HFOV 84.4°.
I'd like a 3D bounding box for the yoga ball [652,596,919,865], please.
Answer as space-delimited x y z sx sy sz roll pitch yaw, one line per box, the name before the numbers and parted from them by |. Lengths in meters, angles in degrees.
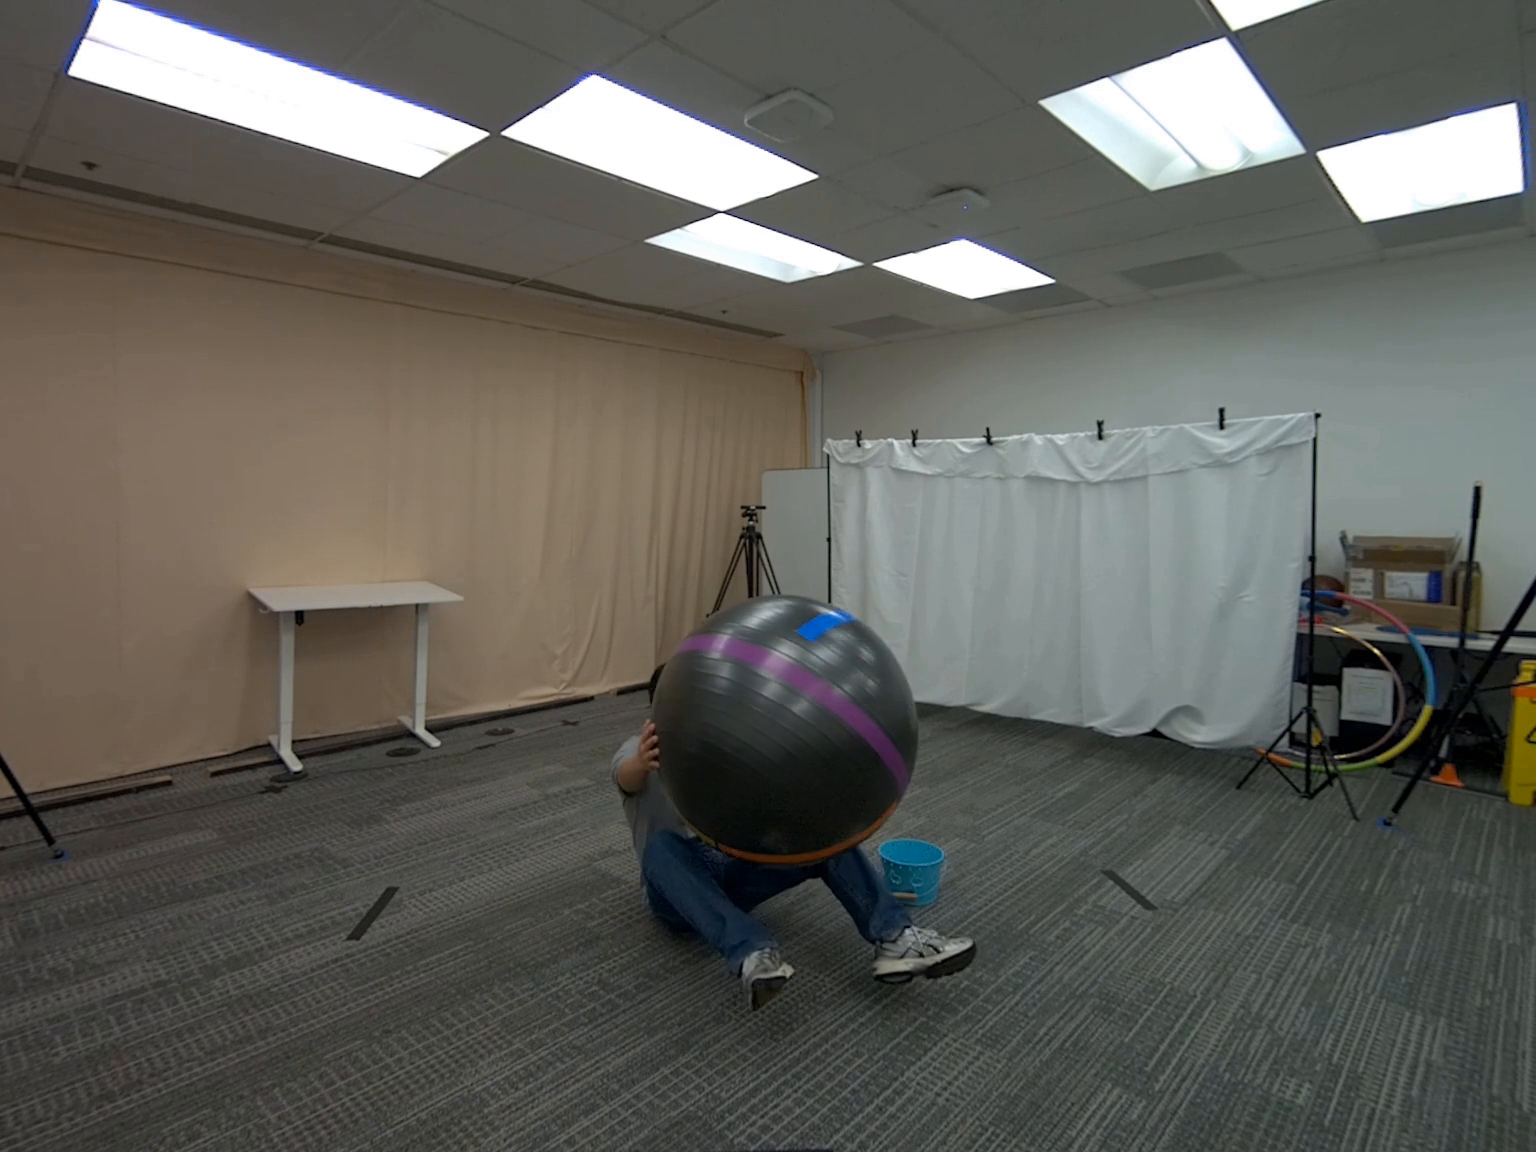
yoga ball | 0.054 0.458 2.404 0.757 0.756 0.761 0 4 -2
